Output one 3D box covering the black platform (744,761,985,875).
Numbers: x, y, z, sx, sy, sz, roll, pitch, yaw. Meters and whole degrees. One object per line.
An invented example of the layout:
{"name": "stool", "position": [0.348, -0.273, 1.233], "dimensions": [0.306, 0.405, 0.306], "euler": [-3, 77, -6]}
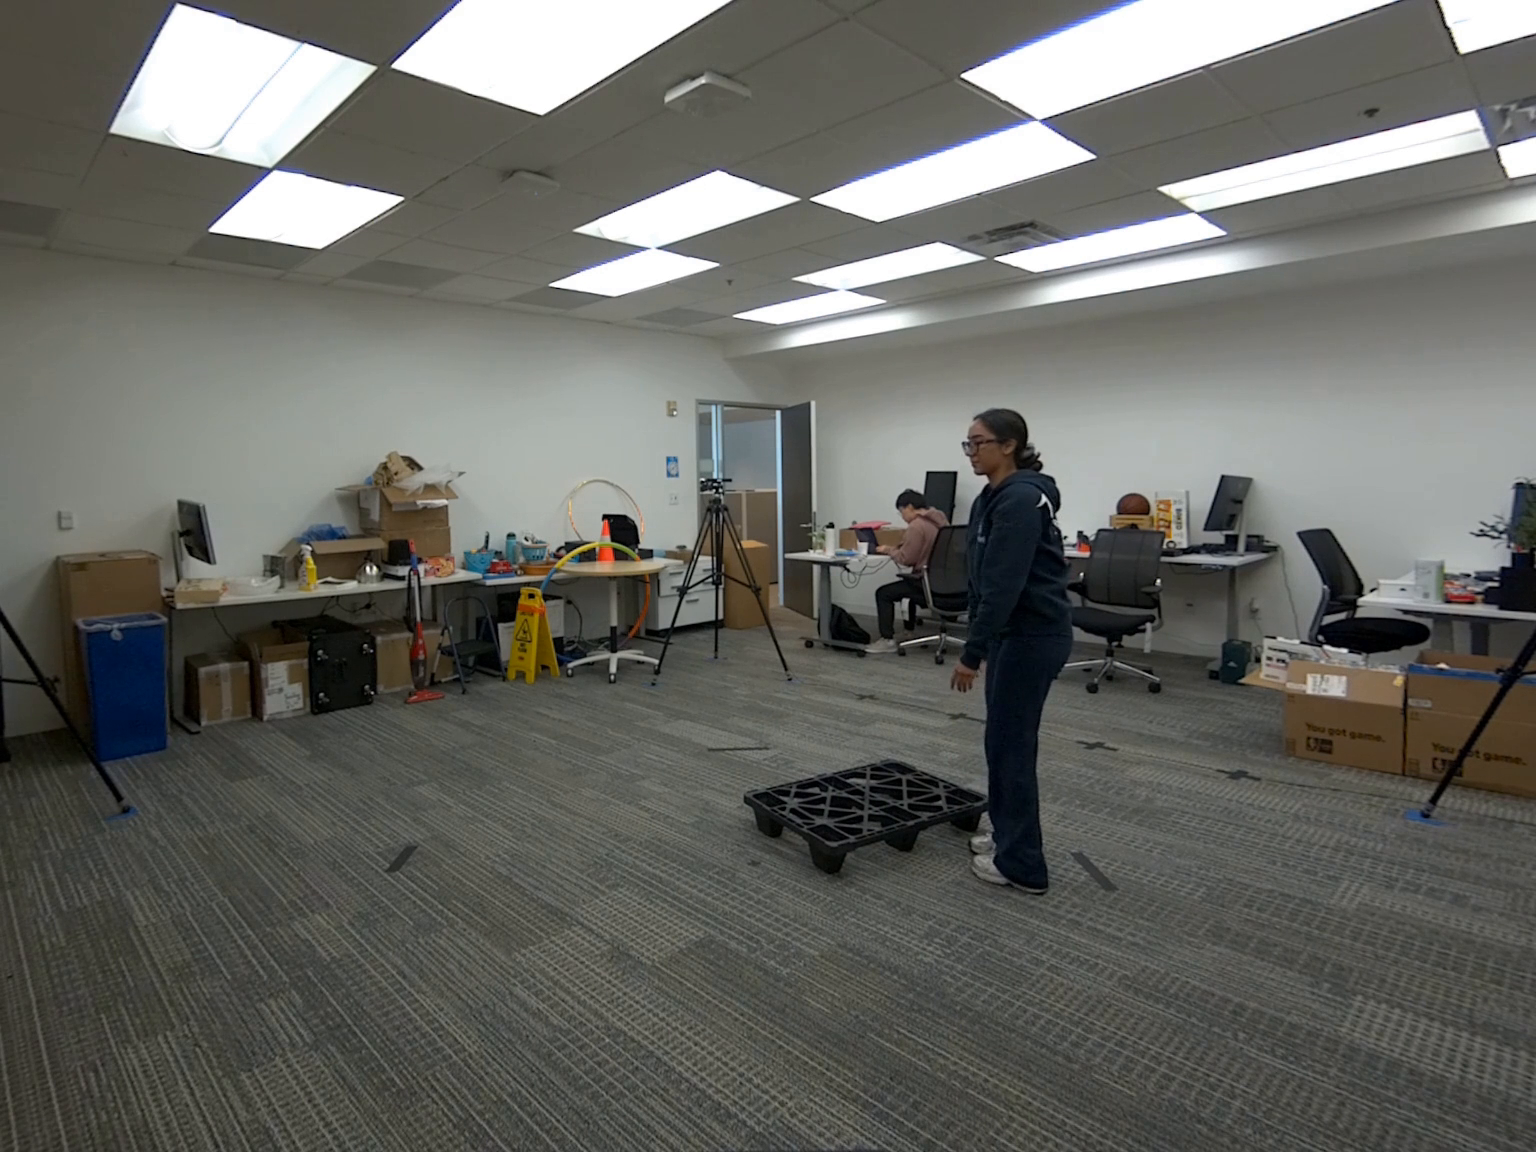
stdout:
{"name": "black platform", "position": [0.399, 0.938, 3.381], "dimensions": [0.786, 0.142, 0.623], "euler": [-5, 8, -31]}
